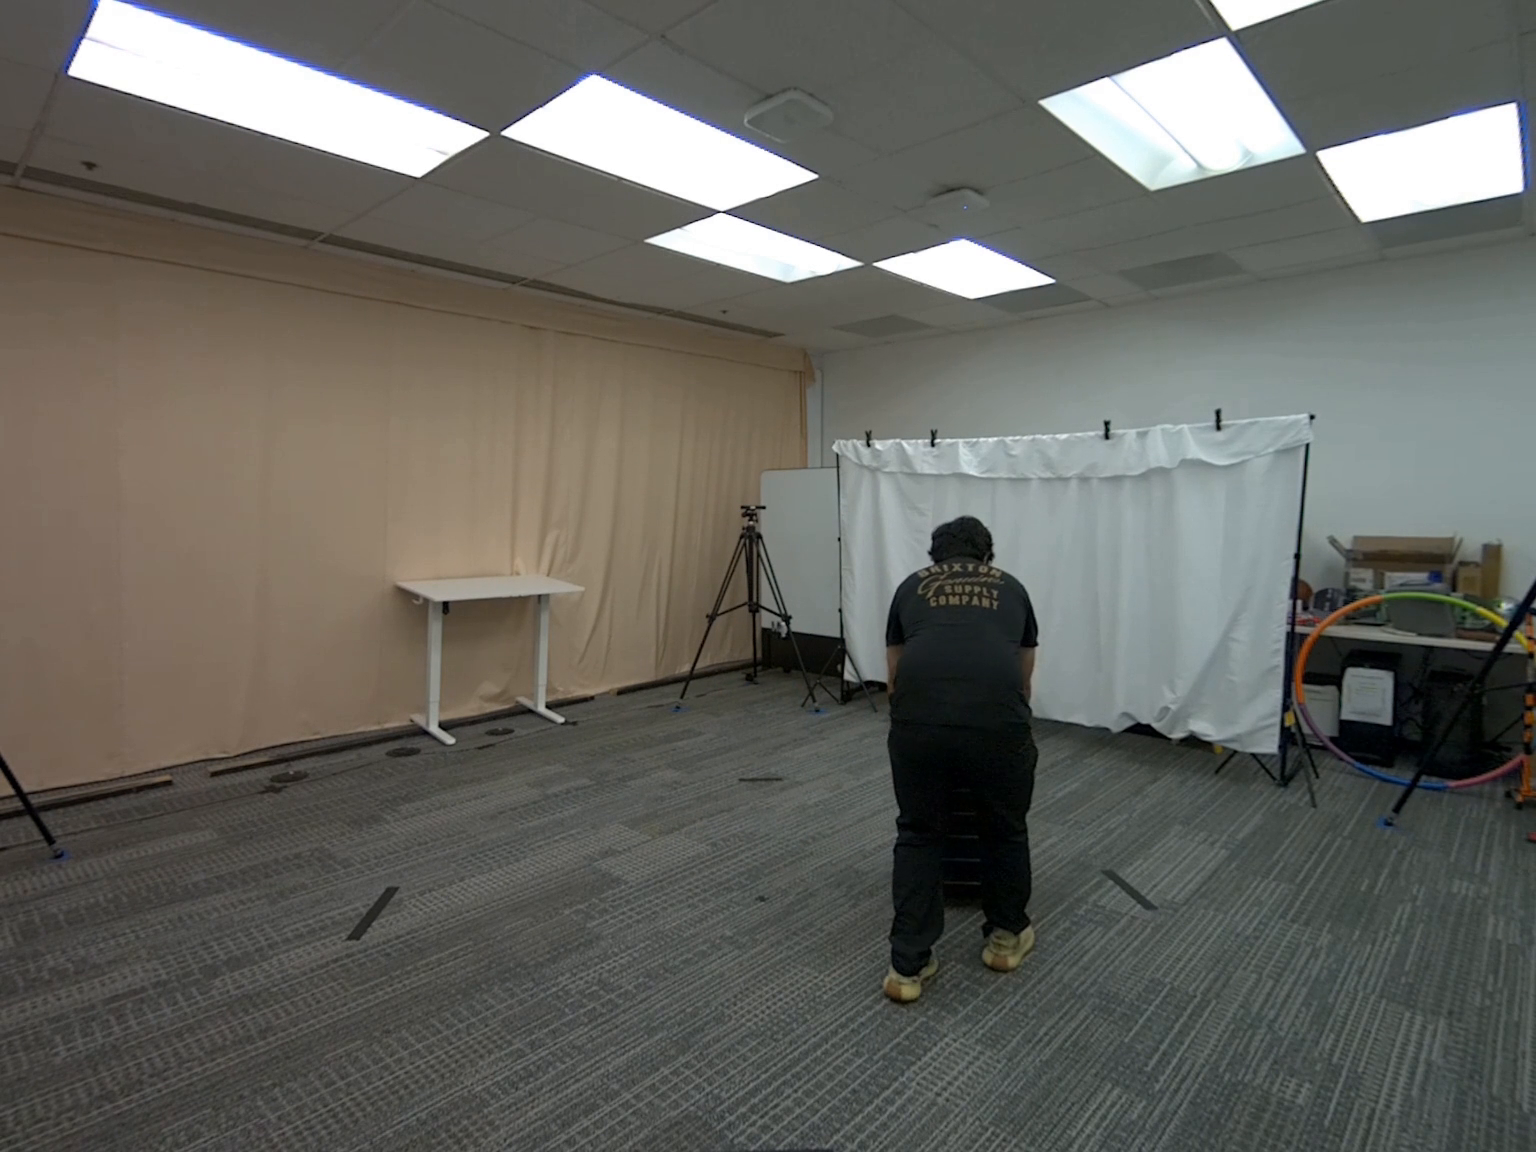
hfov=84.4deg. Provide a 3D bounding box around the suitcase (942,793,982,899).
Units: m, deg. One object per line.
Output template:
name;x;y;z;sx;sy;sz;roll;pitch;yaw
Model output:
suitcase;0.674;0.868;2.976;0.377;0.548;0.248;1;4;2
